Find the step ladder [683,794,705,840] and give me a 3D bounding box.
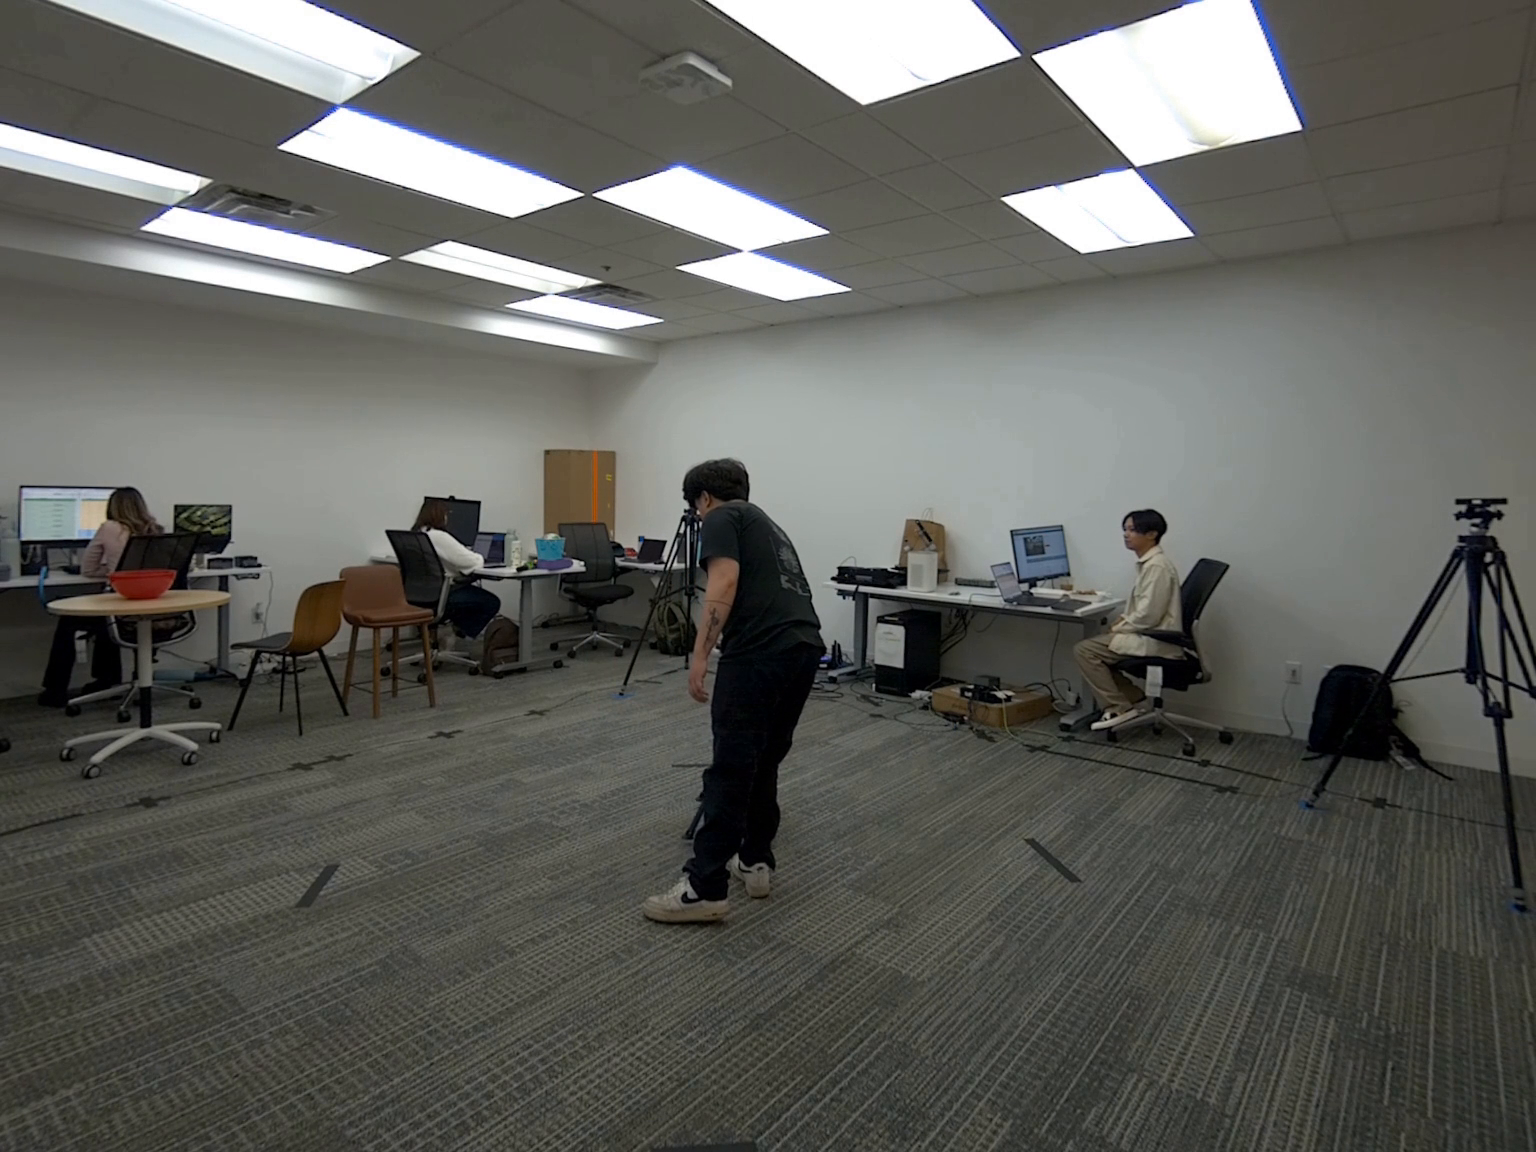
[{"bbox_3d":[-0.127,0.718,3.483,0.351,0.604,0.430,4,5,3],"label":"step ladder"}]
